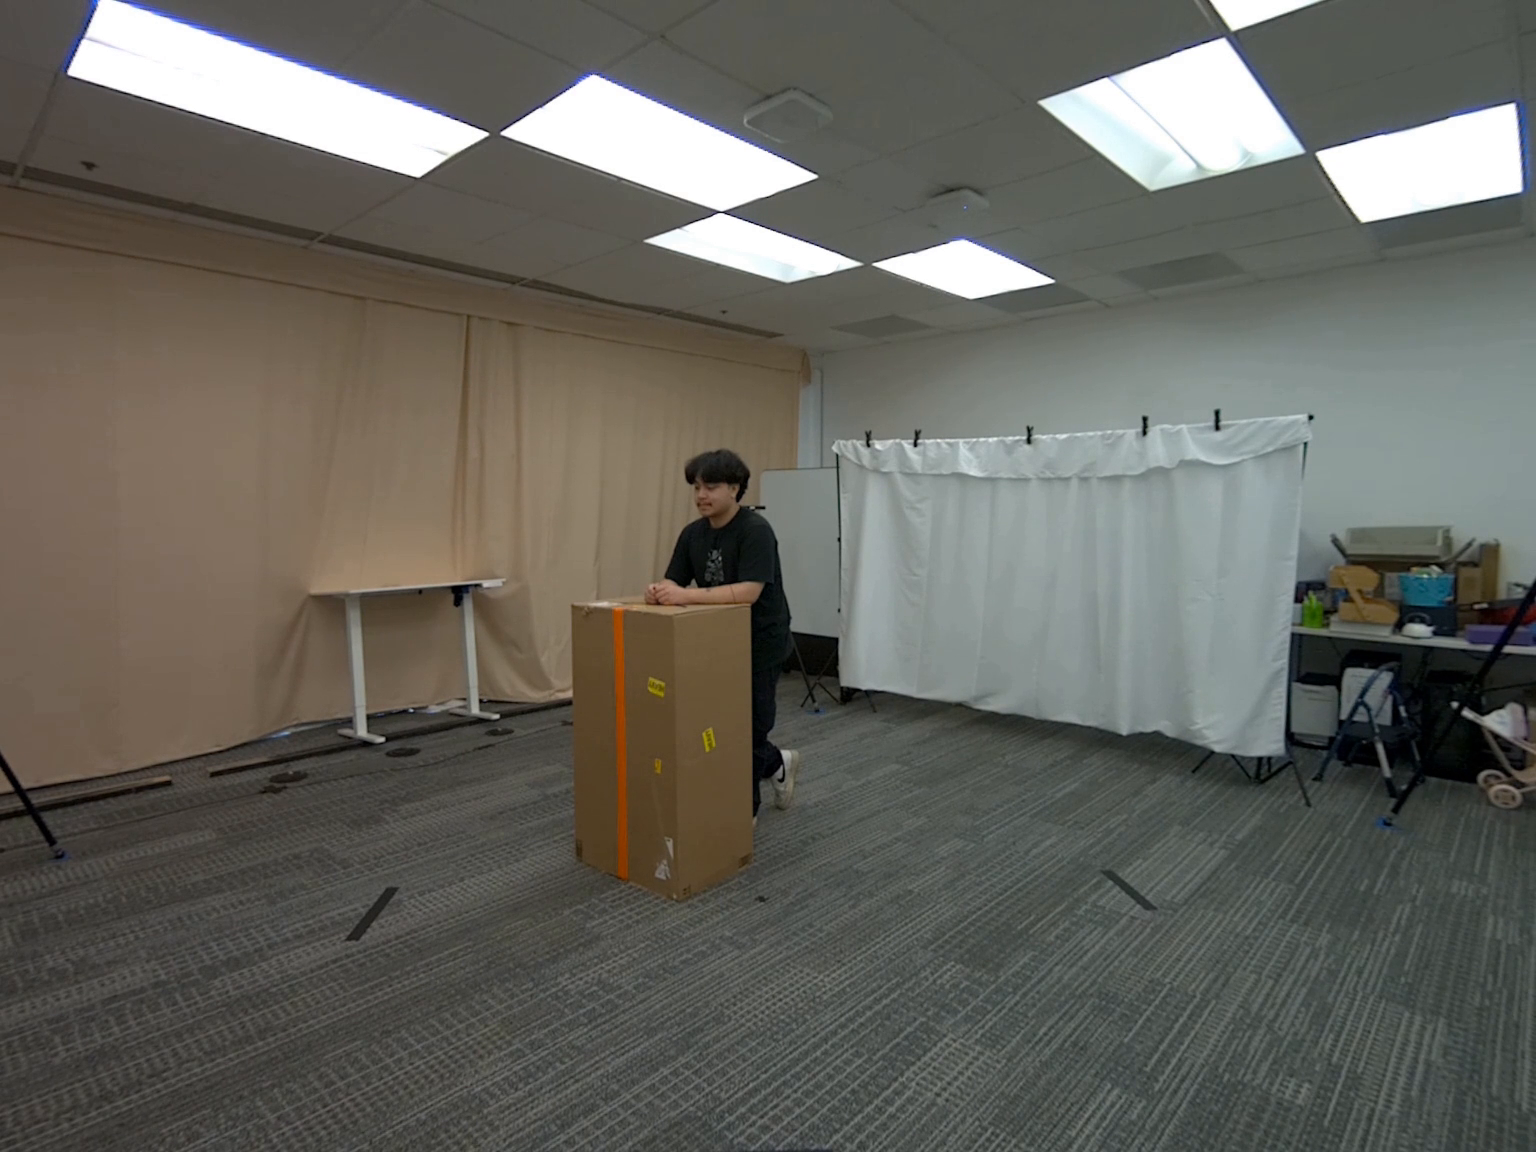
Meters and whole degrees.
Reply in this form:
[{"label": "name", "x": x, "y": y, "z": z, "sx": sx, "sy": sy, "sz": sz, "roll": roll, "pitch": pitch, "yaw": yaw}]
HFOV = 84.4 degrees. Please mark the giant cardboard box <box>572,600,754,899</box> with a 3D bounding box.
[{"label": "giant cardboard box", "x": -0.421, "y": 0.613, "z": 3.283, "sx": 0.603, "sy": 1.025, "sz": 0.433, "roll": 2, "pitch": 4, "yaw": 41}]
